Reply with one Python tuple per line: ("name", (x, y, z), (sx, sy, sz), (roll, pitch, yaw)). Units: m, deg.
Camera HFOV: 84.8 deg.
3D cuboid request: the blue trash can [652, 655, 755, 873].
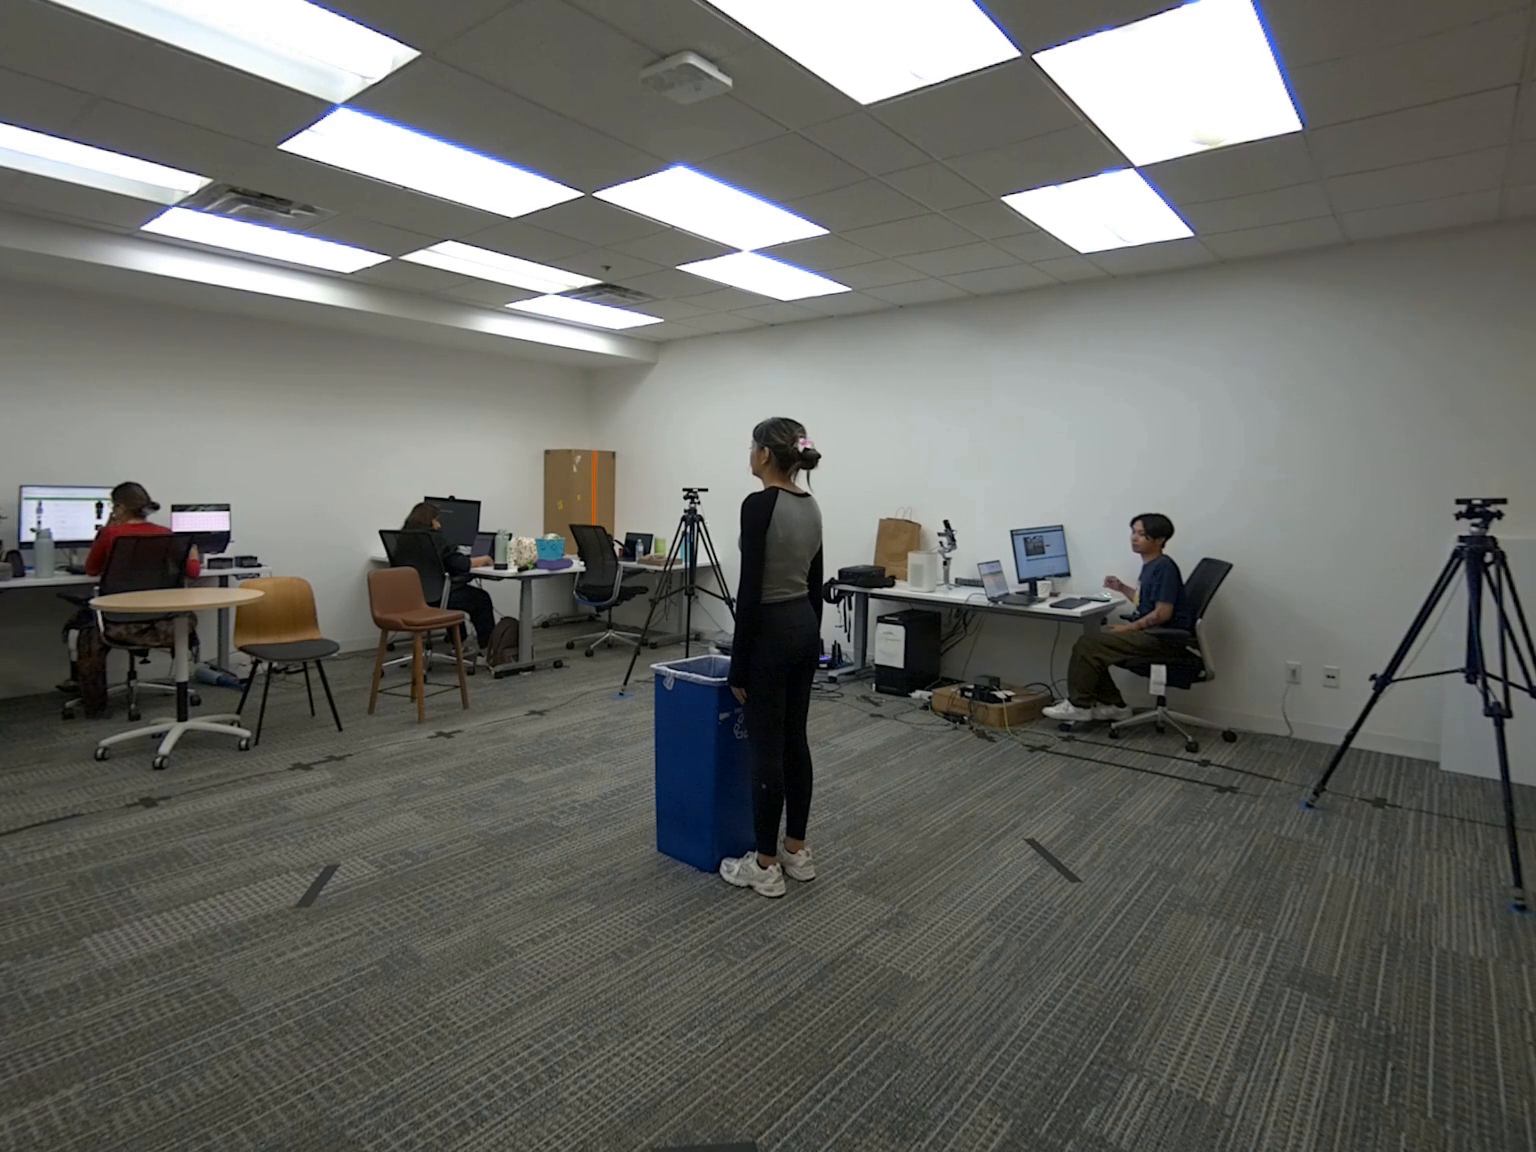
("blue trash can", (-0.224, 0.696, 3.268), (0.391, 0.711, 0.363), (4, 4, 40))
